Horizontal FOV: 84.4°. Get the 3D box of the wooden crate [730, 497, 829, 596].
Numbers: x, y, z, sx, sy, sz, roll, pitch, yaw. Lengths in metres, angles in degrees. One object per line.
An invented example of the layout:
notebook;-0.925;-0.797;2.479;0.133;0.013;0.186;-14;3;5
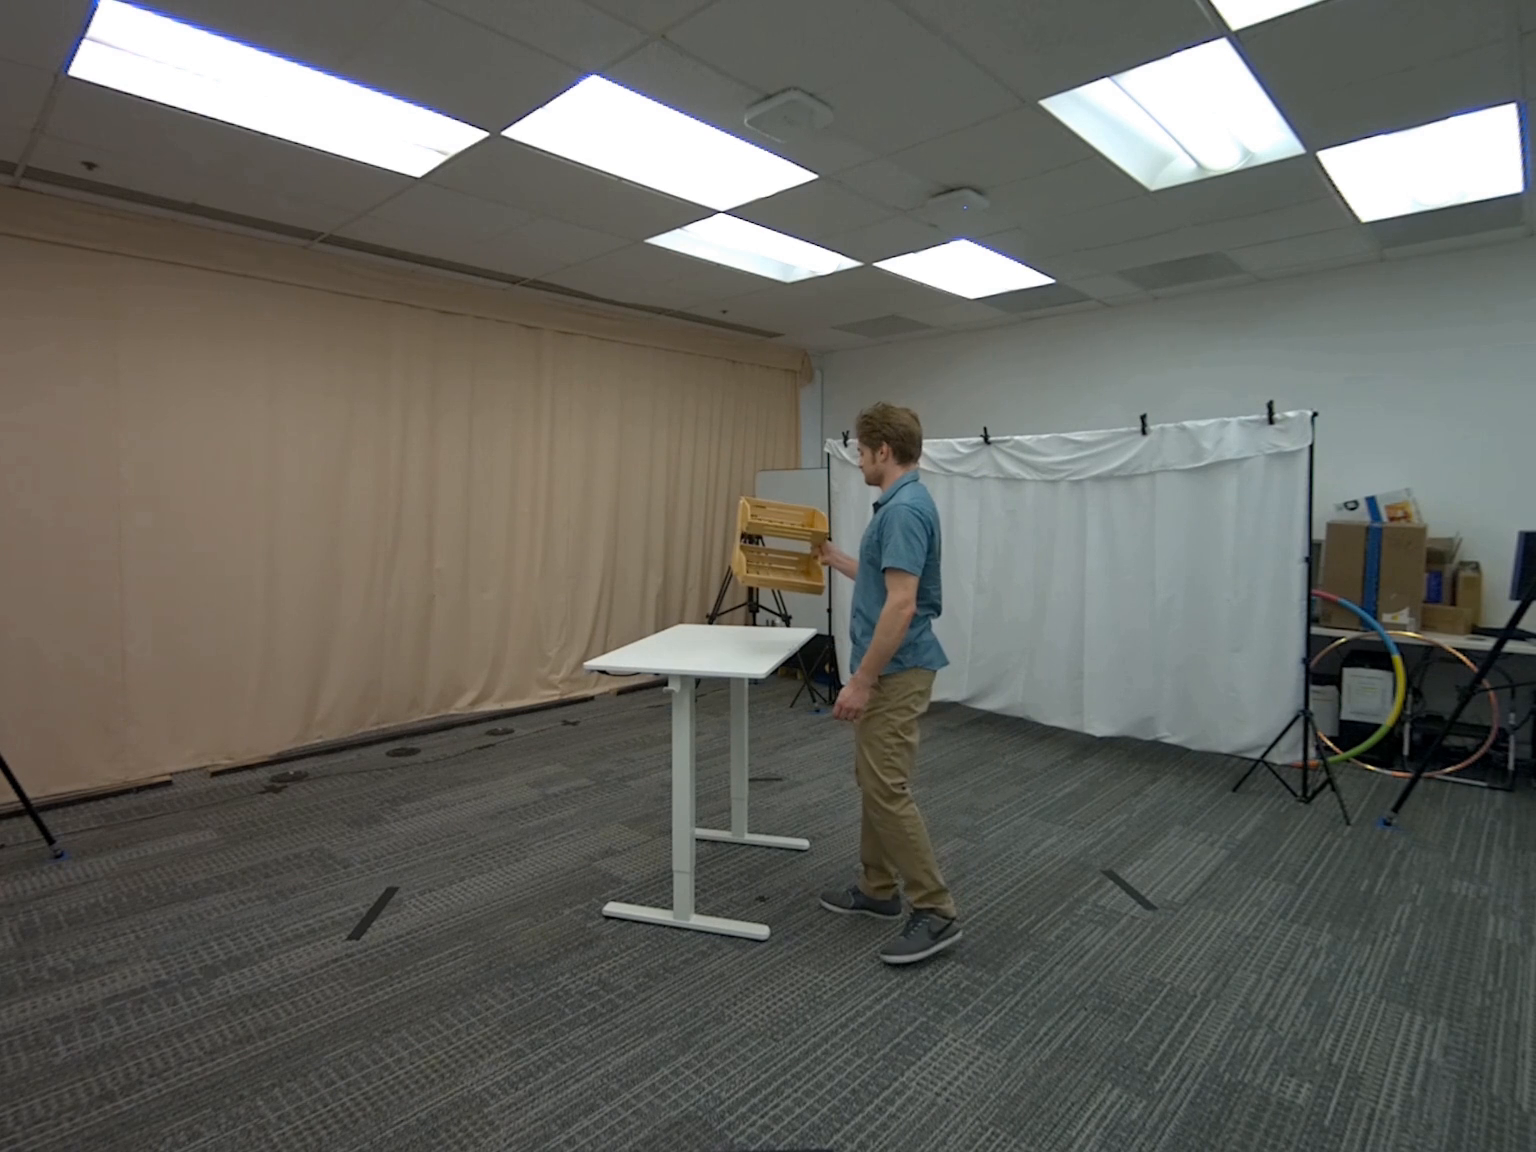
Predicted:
wooden crate;0.055;-0.114;3.058;0.321;0.271;0.307;7;15;-11
